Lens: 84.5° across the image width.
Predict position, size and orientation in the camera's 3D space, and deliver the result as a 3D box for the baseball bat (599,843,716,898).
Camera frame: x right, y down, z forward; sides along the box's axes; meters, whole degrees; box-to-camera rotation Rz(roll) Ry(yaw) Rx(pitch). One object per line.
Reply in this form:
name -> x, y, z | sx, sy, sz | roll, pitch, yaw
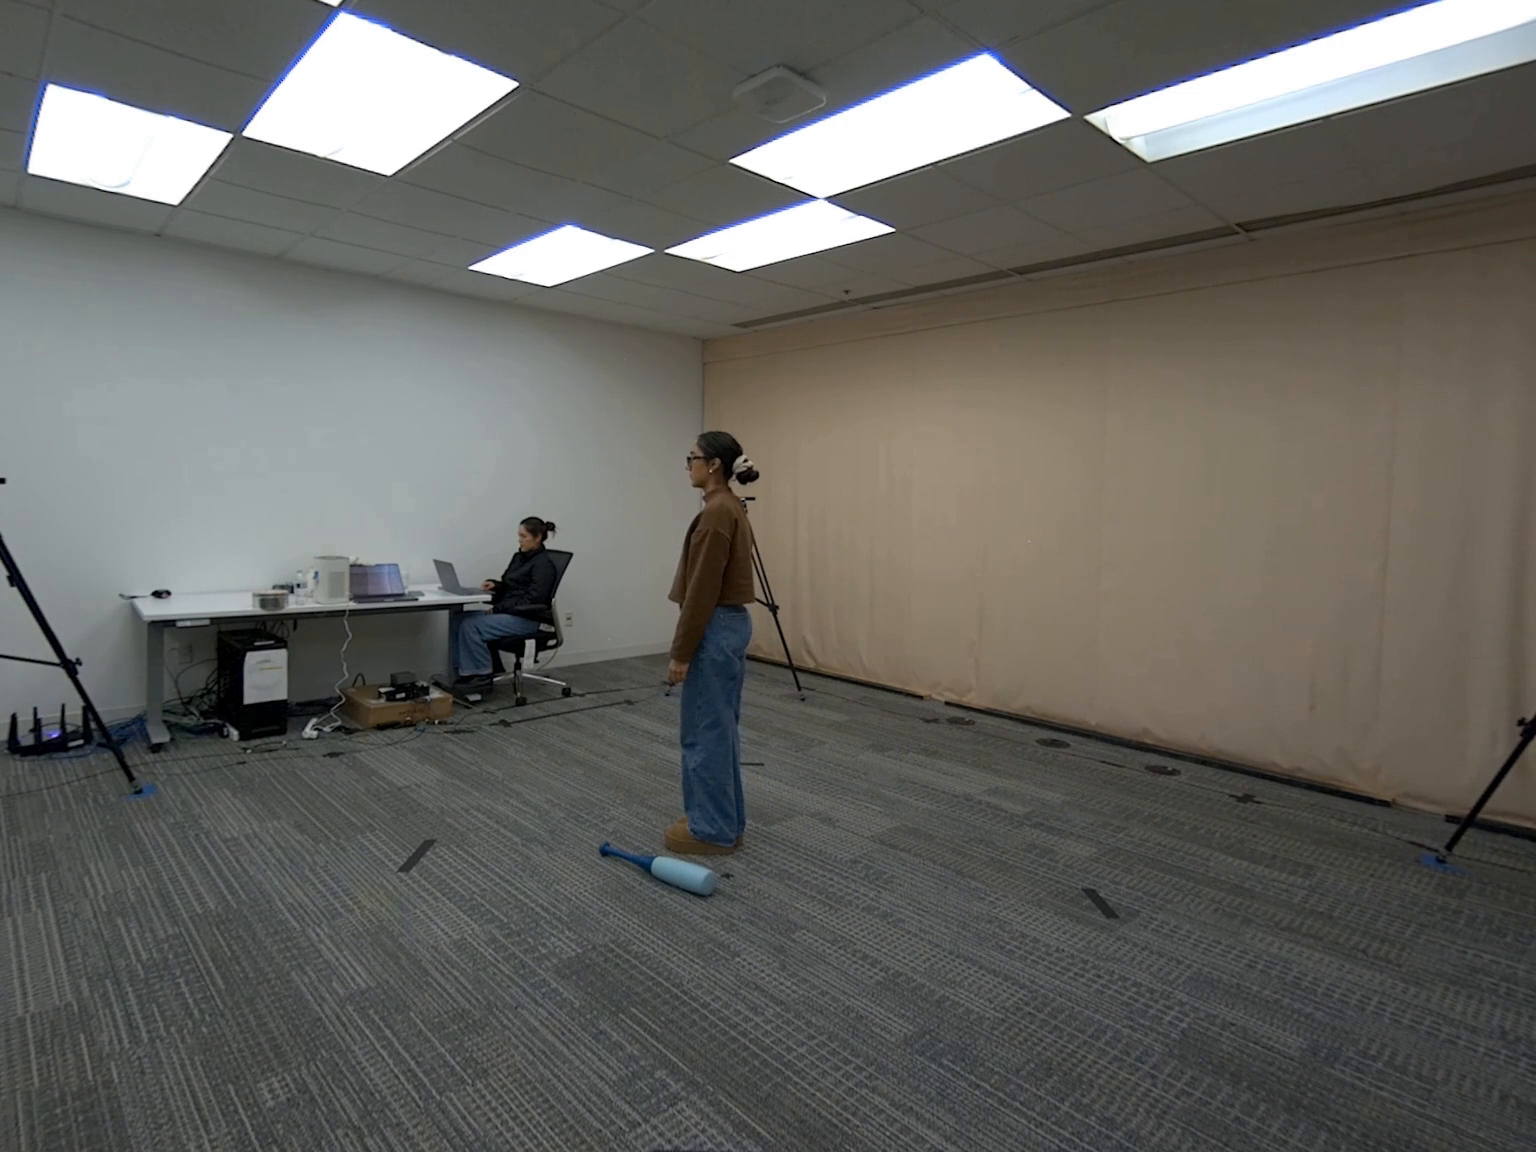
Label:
baseball bat -> -0.427, 1.067, 3.090 | 0.555, 0.089, 0.087 | 1, 3, 36
